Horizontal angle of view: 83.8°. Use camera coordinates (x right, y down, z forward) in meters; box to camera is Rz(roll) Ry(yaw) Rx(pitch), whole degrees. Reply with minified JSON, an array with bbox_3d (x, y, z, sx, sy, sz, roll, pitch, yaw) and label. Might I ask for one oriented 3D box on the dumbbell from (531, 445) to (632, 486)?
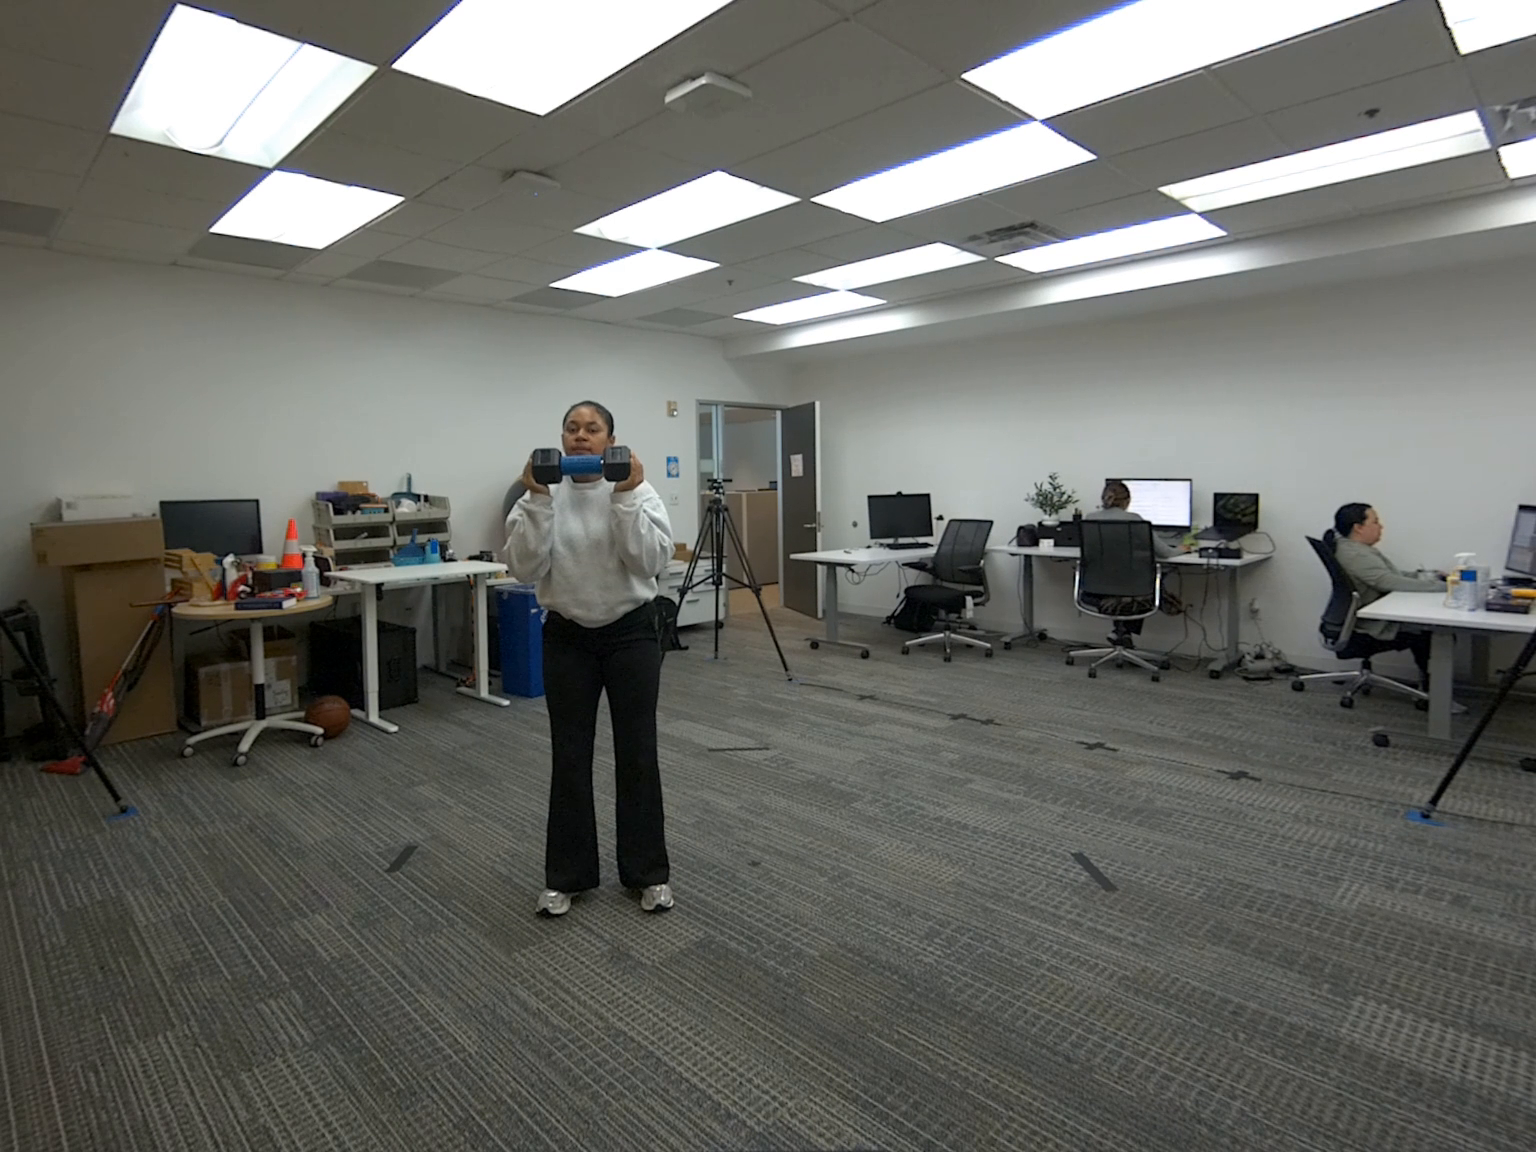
[{"bbox_3d":[-0.567,-0.331,2.597,0.293,0.126,0.106,-3,-31,0],"label":"dumbbell"}]
